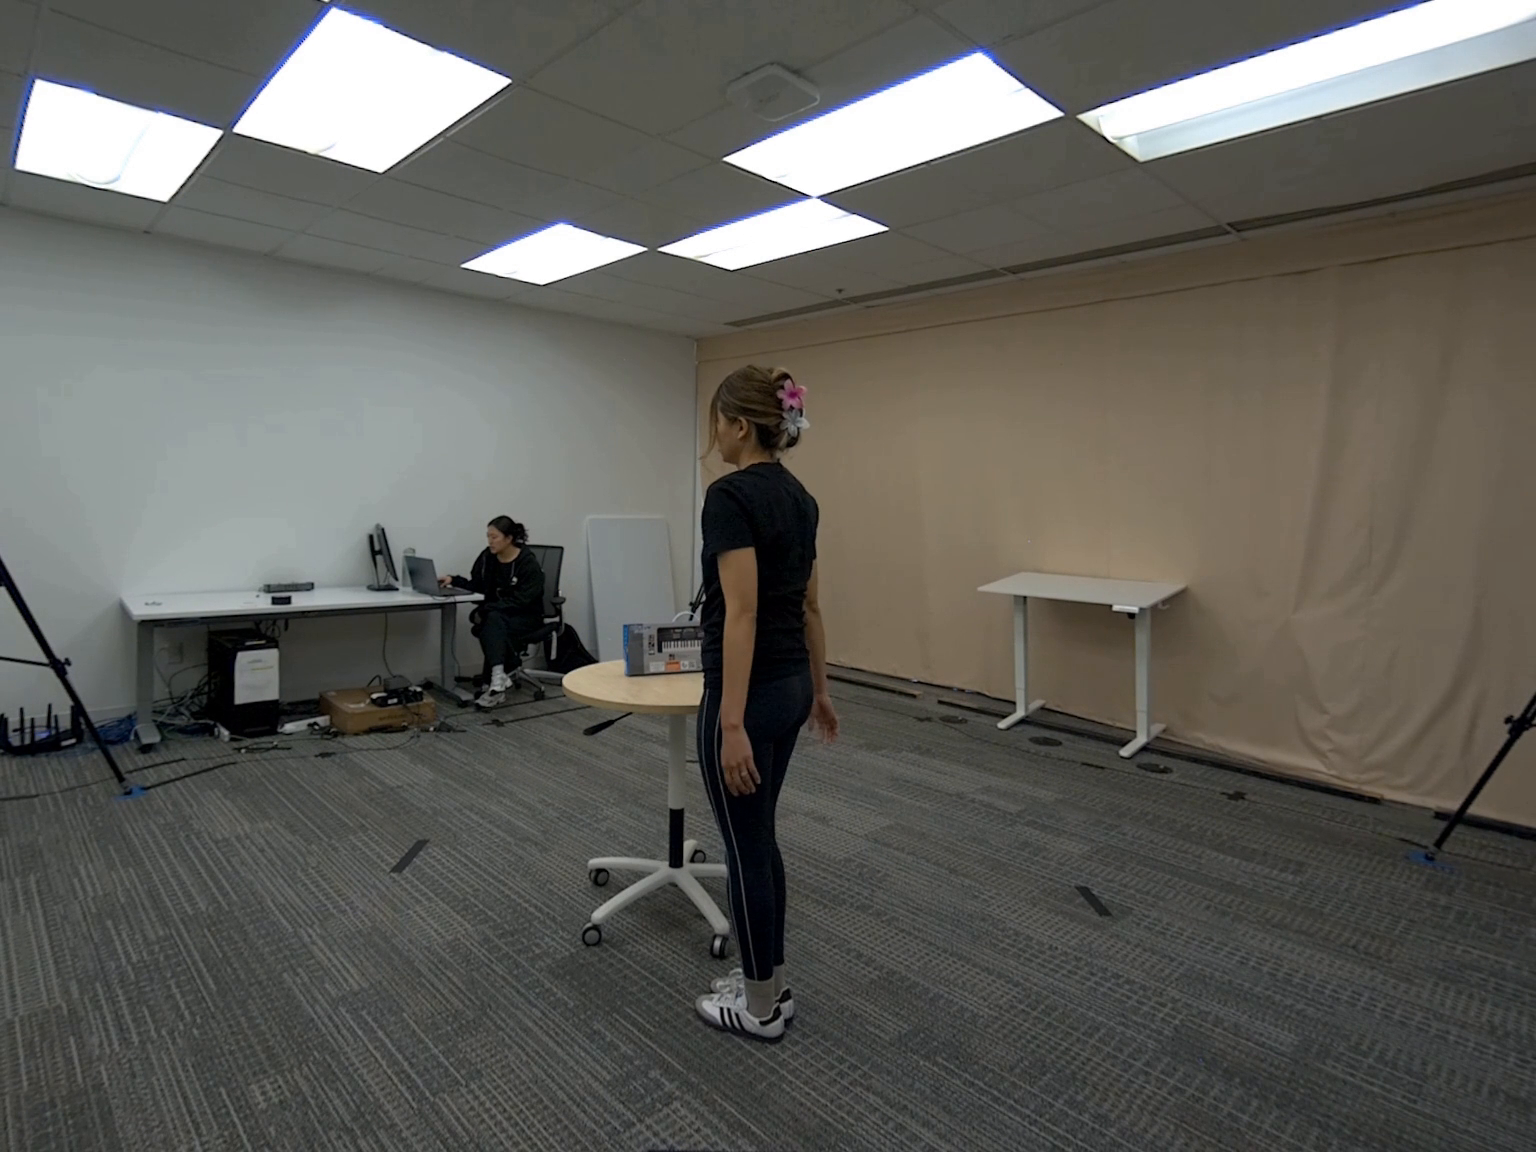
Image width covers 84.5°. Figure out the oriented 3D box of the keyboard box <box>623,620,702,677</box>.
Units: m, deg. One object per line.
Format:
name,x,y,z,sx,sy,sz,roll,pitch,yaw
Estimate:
keyboard box,-0.286,0.247,2.919,0.430,0.176,0.060,-1,-1,-20
